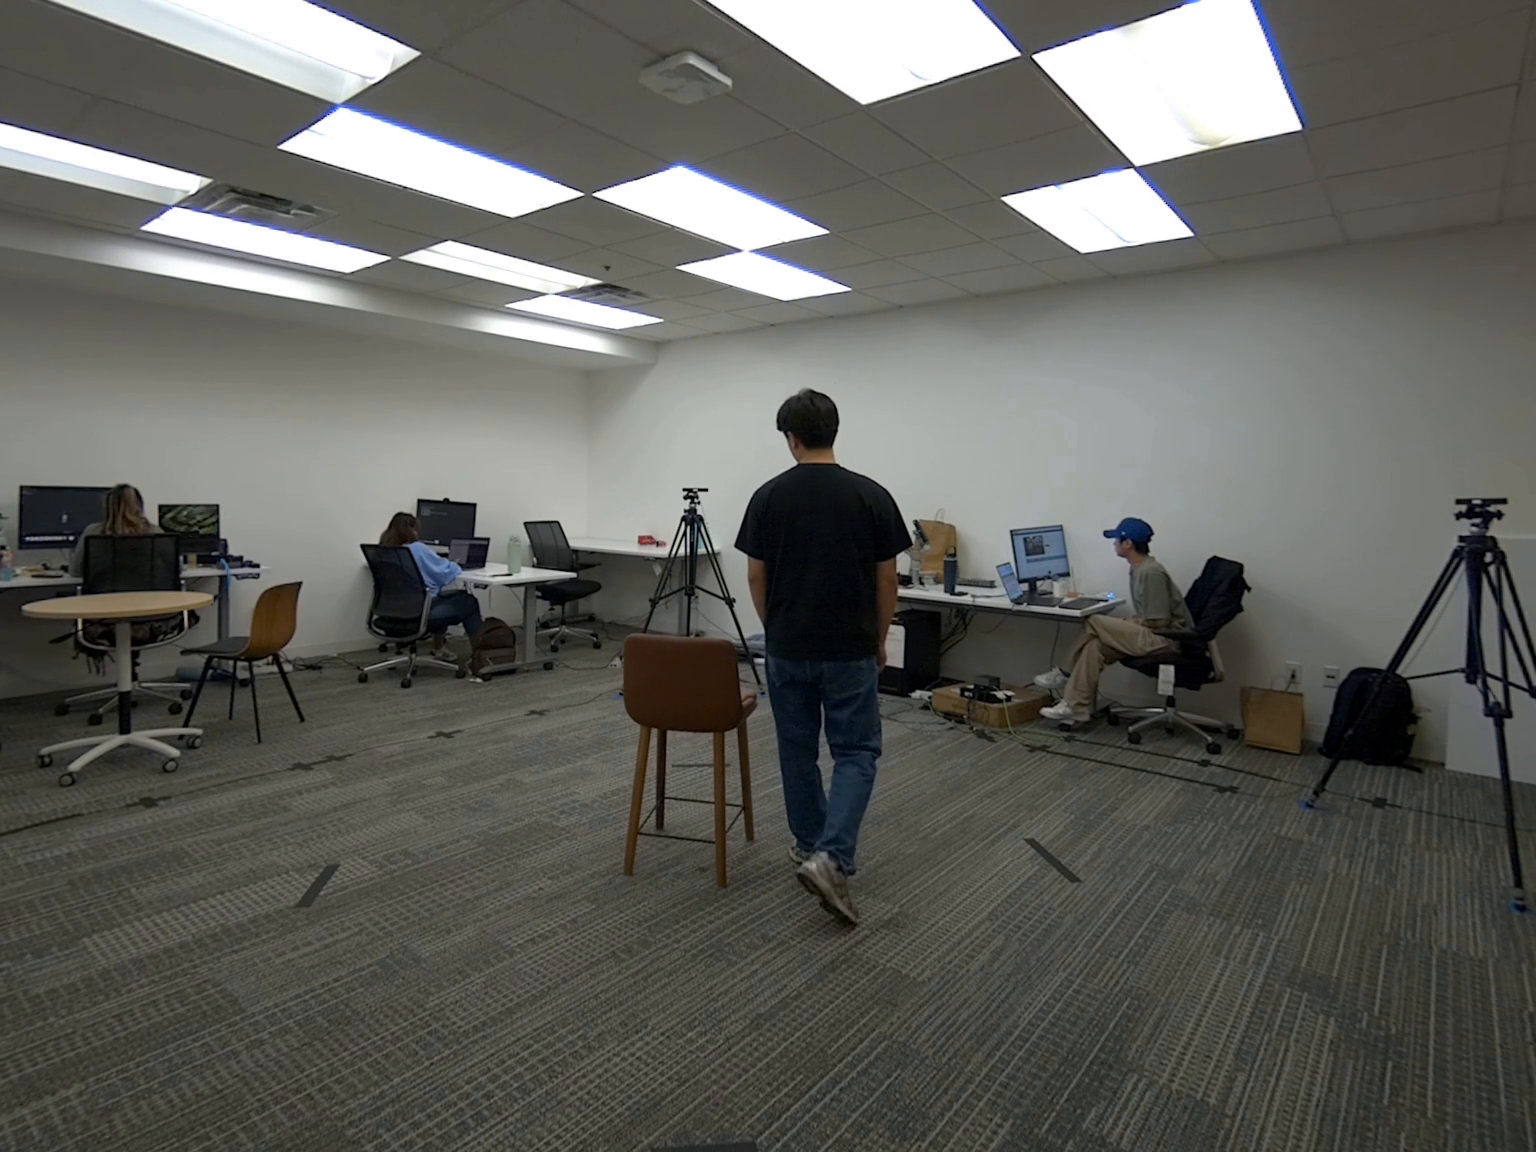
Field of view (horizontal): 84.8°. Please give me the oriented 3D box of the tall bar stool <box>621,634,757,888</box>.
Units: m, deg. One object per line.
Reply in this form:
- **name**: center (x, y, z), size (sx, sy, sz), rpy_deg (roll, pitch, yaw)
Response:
- **tall bar stool**: center (-0.302, 0.625, 3.202), size (0.464, 0.887, 0.462), rpy_deg (1, 4, 14)
